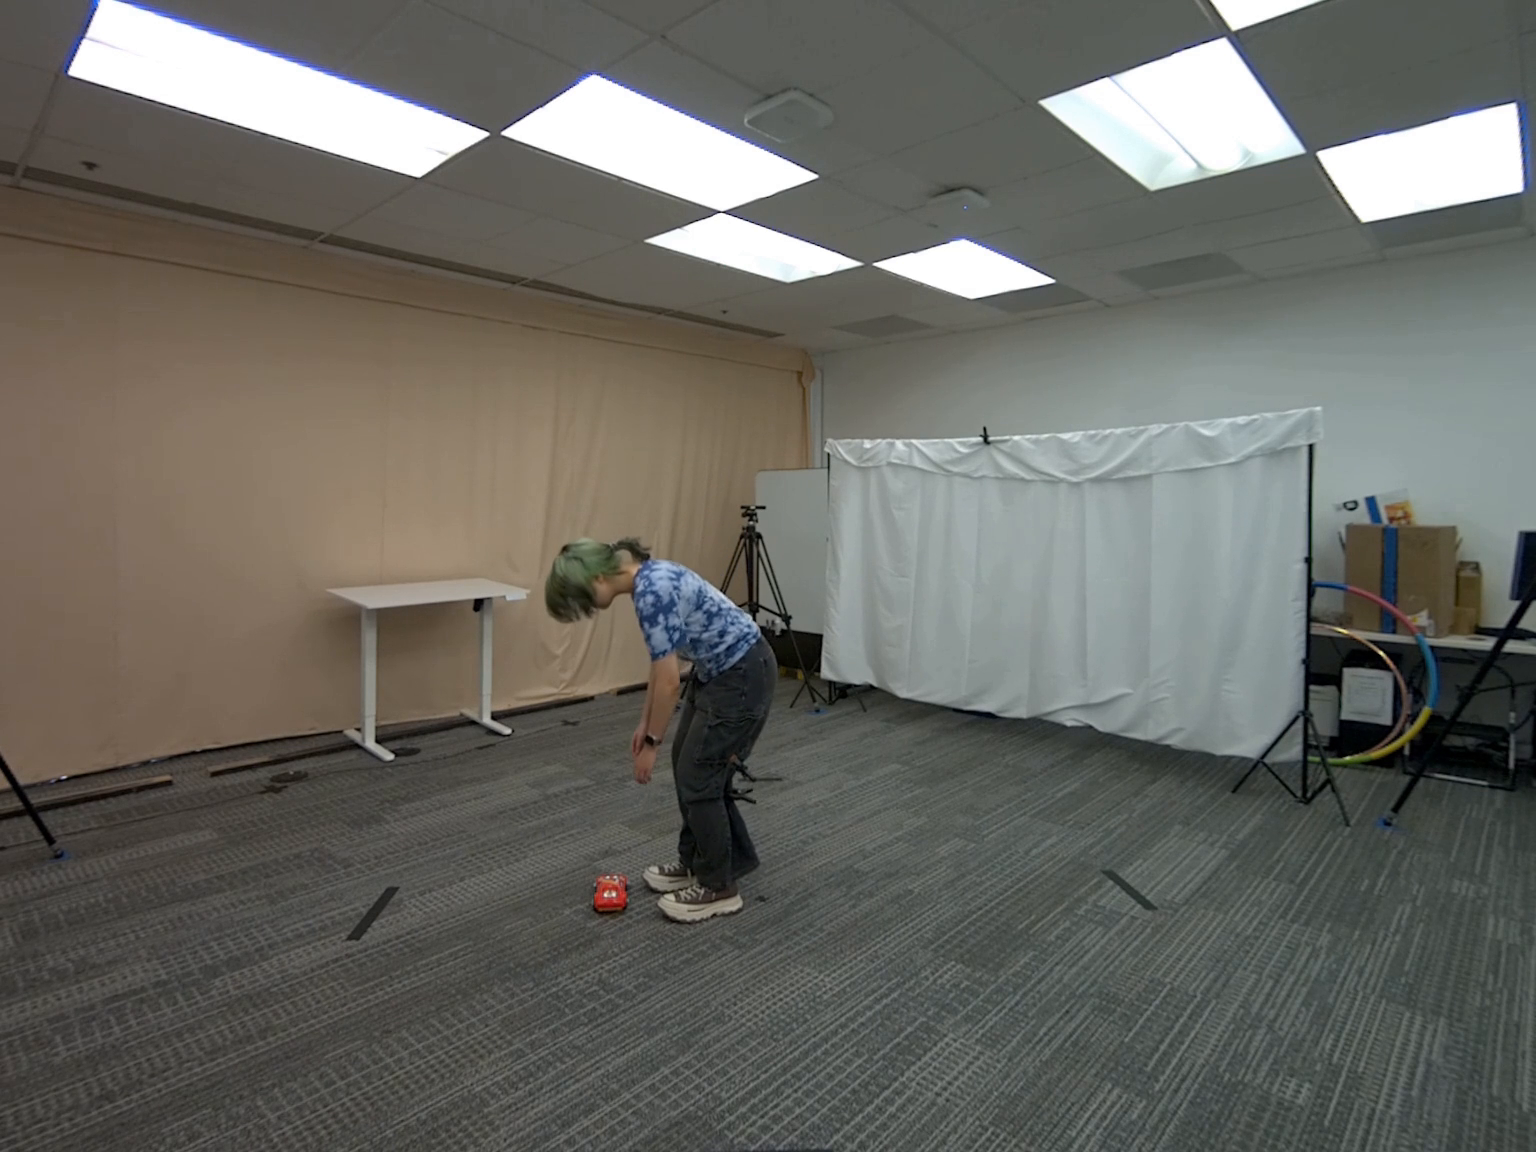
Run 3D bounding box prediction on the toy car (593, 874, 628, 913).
[{"bbox_3d":[-0.553,1.123,2.963,0.129,0.084,0.254,0,-8,-6],"label":"toy car"}]
